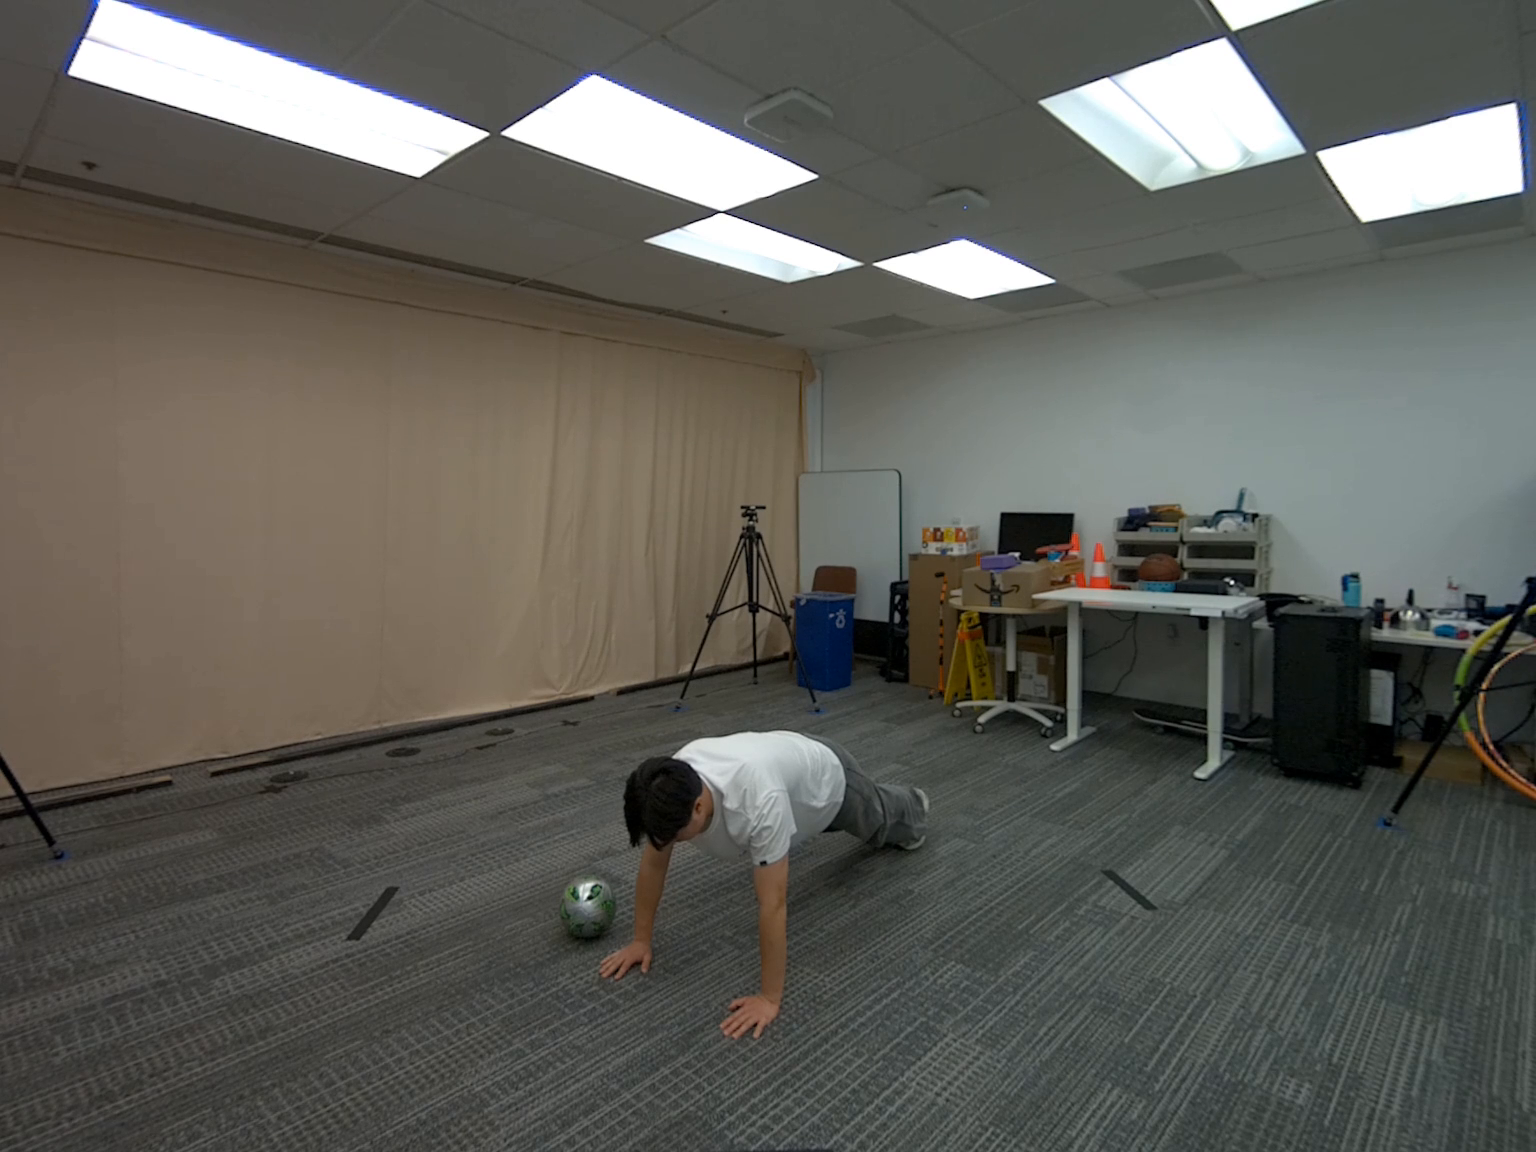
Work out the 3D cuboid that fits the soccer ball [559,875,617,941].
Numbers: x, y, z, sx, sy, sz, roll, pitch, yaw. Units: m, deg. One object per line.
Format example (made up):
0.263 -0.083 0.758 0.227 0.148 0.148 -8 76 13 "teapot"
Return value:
-0.579 1.081 2.738 0.187 0.187 0.188 0 4 -2 "soccer ball"
